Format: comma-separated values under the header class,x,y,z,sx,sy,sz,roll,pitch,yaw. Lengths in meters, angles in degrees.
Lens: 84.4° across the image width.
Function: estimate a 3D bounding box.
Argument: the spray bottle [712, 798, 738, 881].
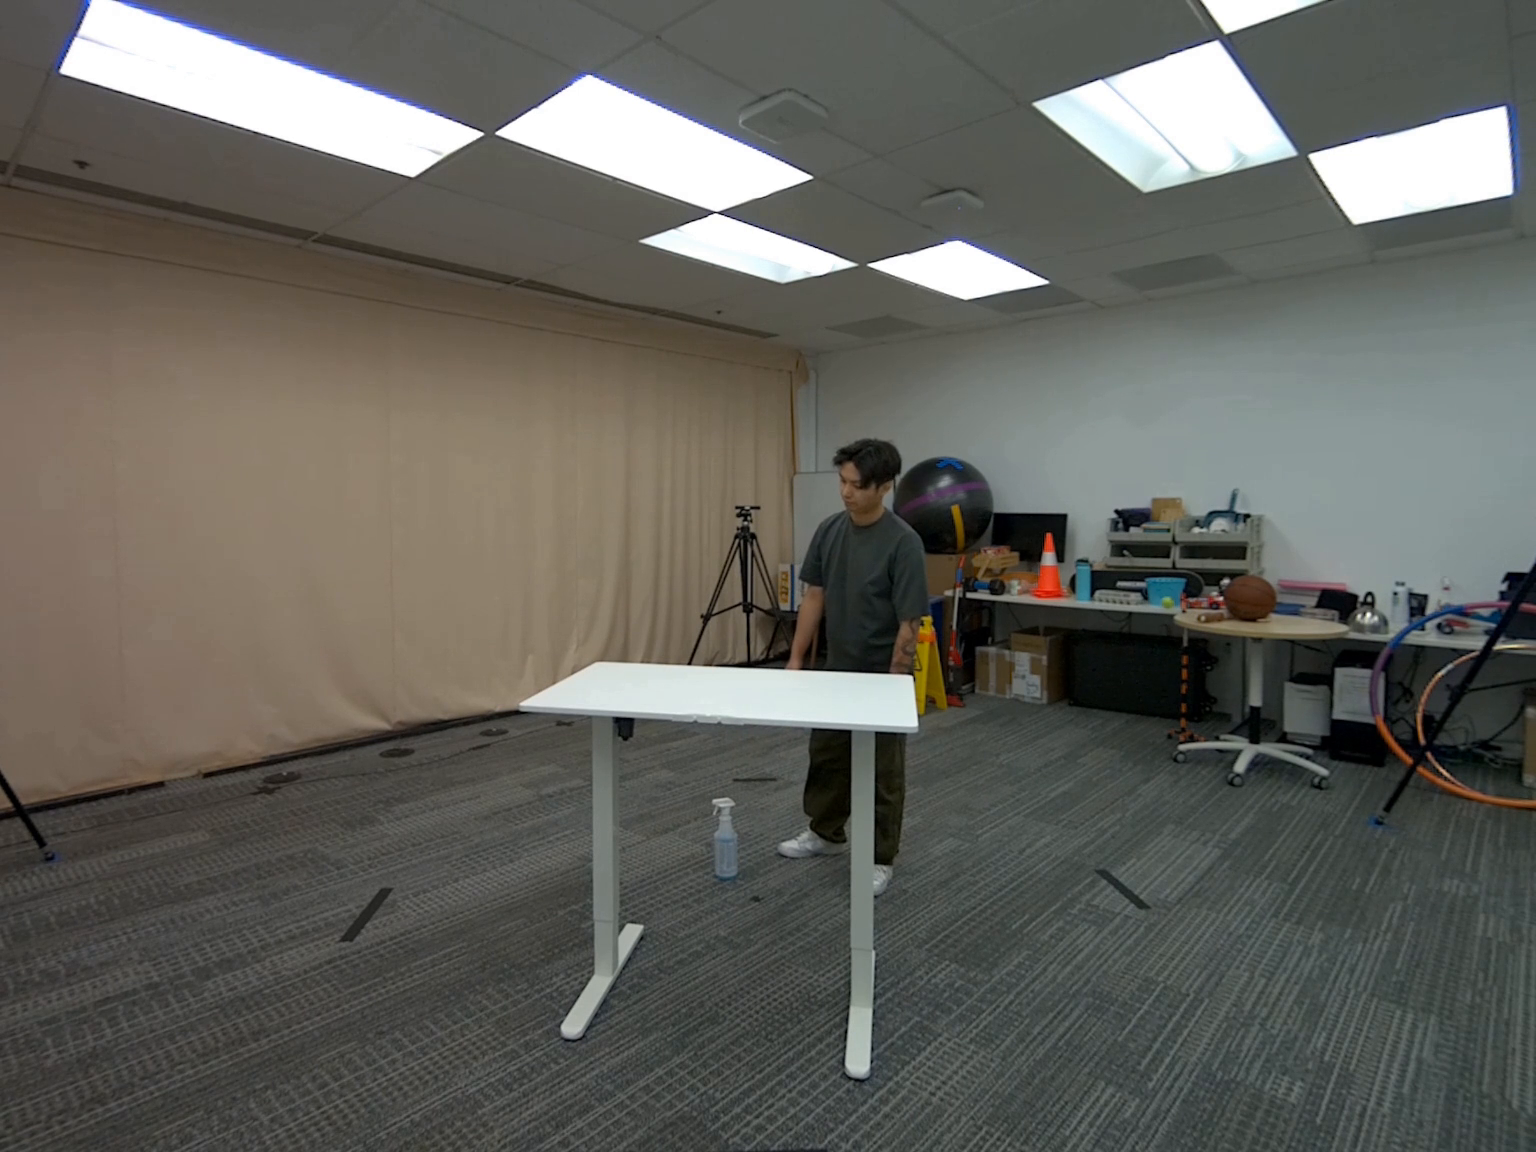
class,x,y,z,sx,sy,sz,roll,pitch,yaw
spray bottle,-0.158,0.987,3.167,0.090,0.296,0.087,-2,5,-1
